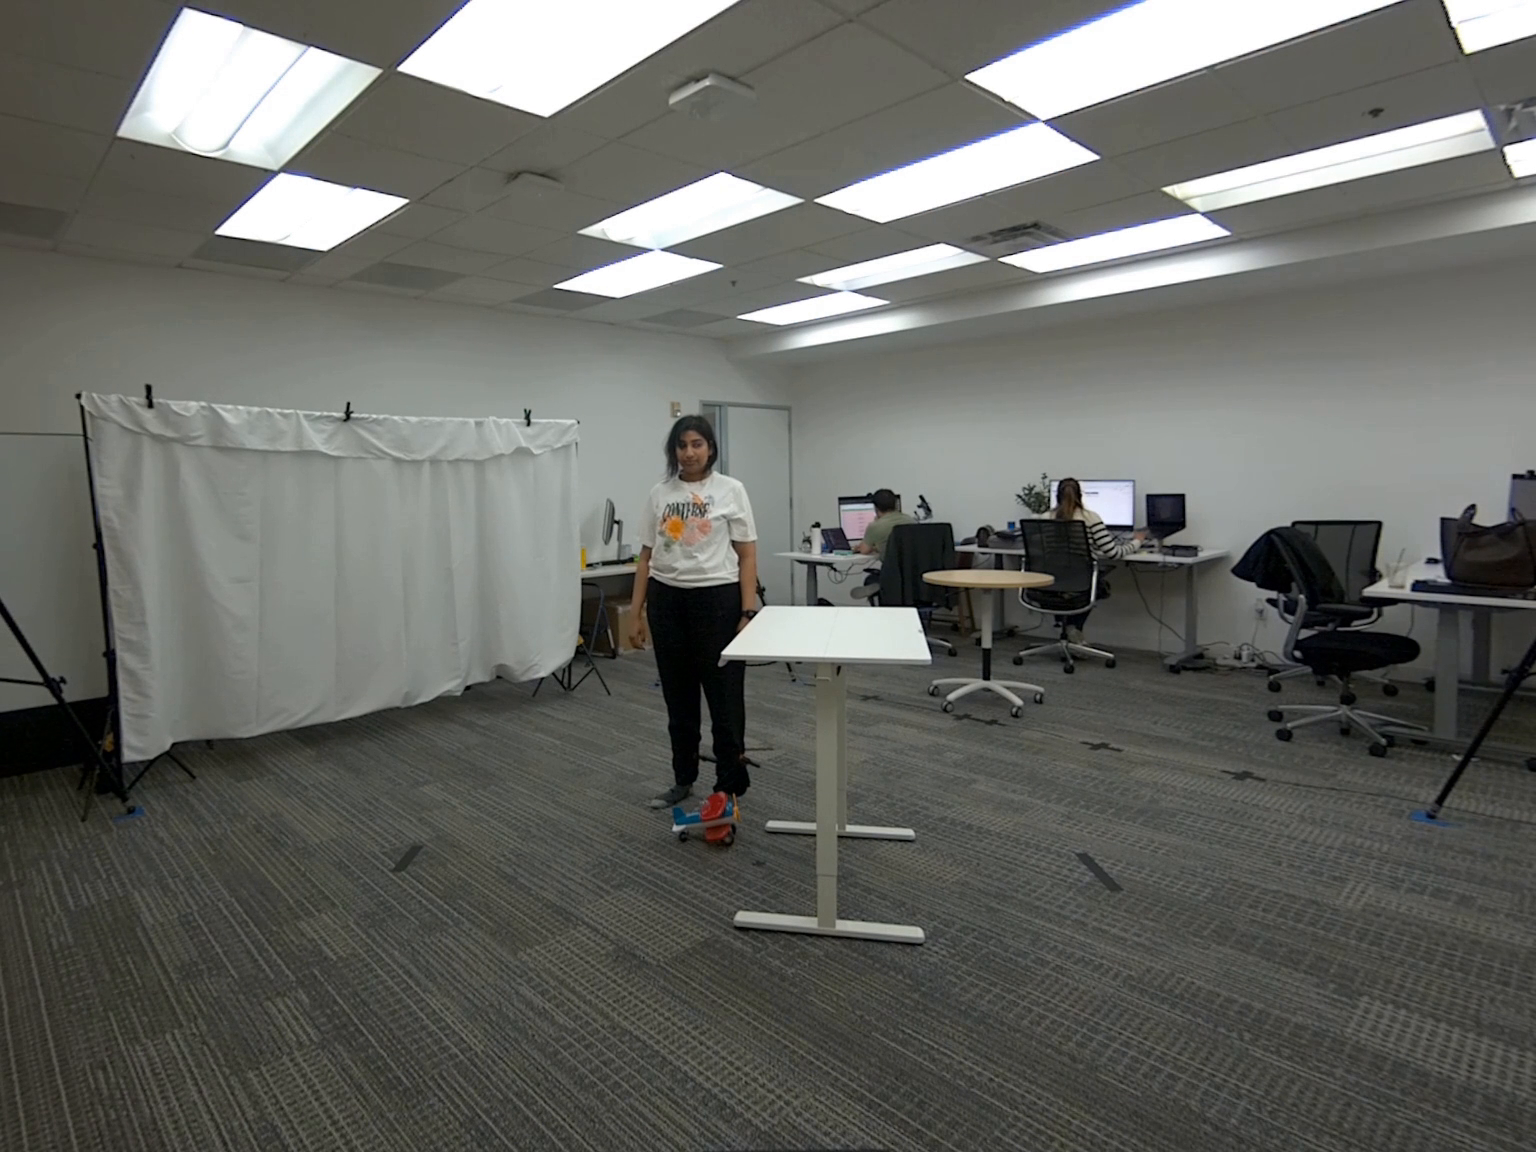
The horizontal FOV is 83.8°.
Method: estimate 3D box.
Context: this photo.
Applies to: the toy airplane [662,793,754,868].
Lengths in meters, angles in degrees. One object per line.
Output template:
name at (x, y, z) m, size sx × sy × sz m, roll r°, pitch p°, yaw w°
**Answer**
toy airplane at (-0.235, 0.969, 3.299) m, size 0.254 × 0.156 × 0.257 m, roll -6°, pitch 5°, yaw -26°
